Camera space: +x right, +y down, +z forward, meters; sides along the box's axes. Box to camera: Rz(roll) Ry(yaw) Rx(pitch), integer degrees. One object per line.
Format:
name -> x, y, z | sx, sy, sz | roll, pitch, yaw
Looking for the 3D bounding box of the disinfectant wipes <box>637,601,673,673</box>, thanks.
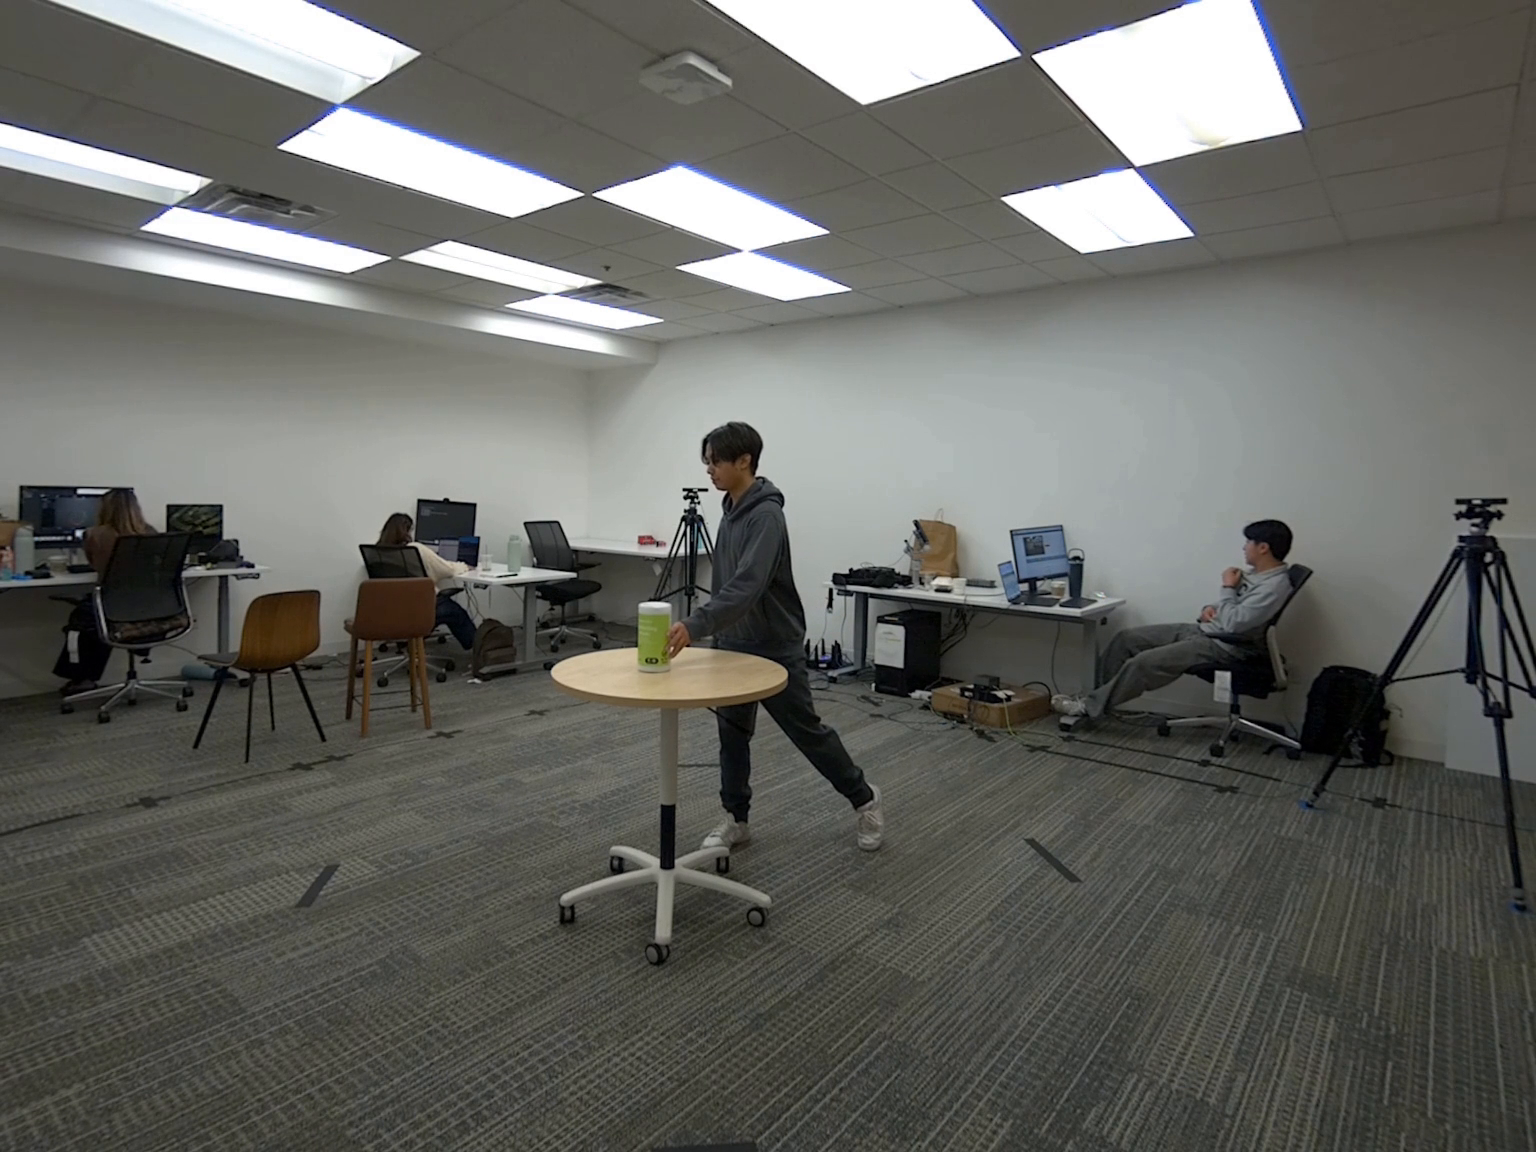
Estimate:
disinfectant wipes -> -0.378, 0.197, 2.766 | 0.118, 0.216, 0.118 | 0, 5, -2
